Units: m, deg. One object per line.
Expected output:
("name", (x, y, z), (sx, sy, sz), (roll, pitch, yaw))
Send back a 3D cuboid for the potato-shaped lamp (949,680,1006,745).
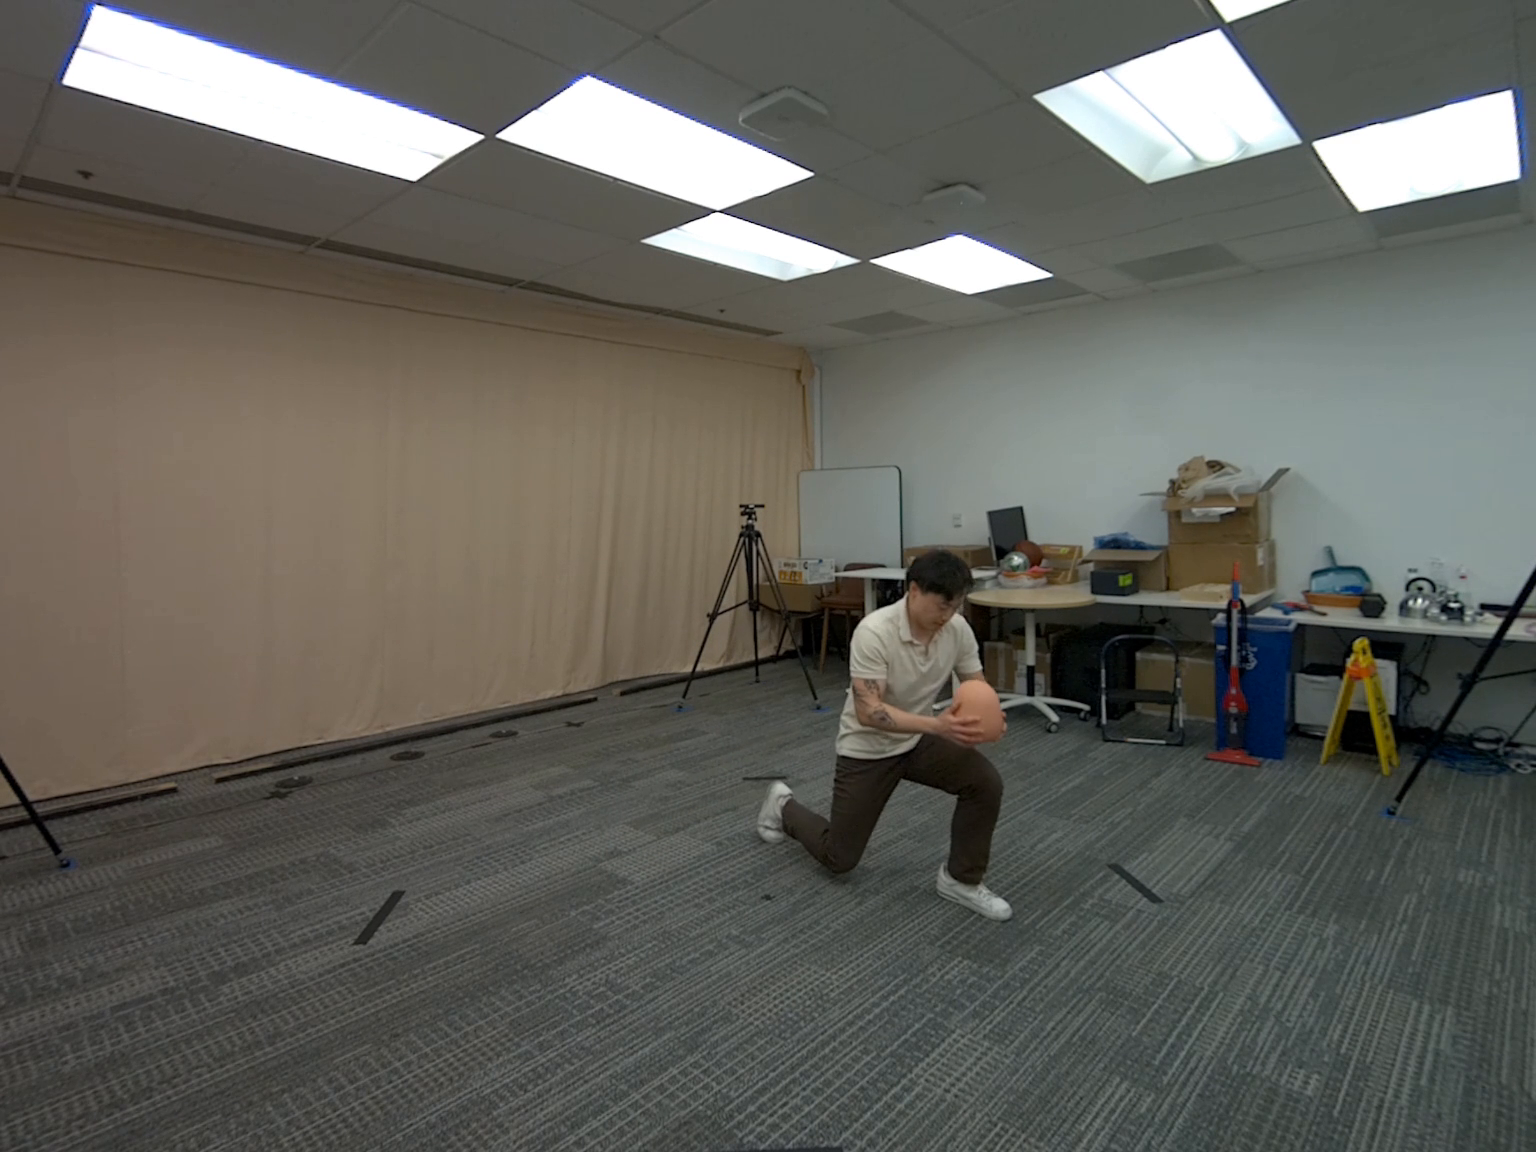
("potato-shaped lamp", (0.659, 0.414, 2.725), (0.175, 0.199, 0.160), (-9, -6, 24))
